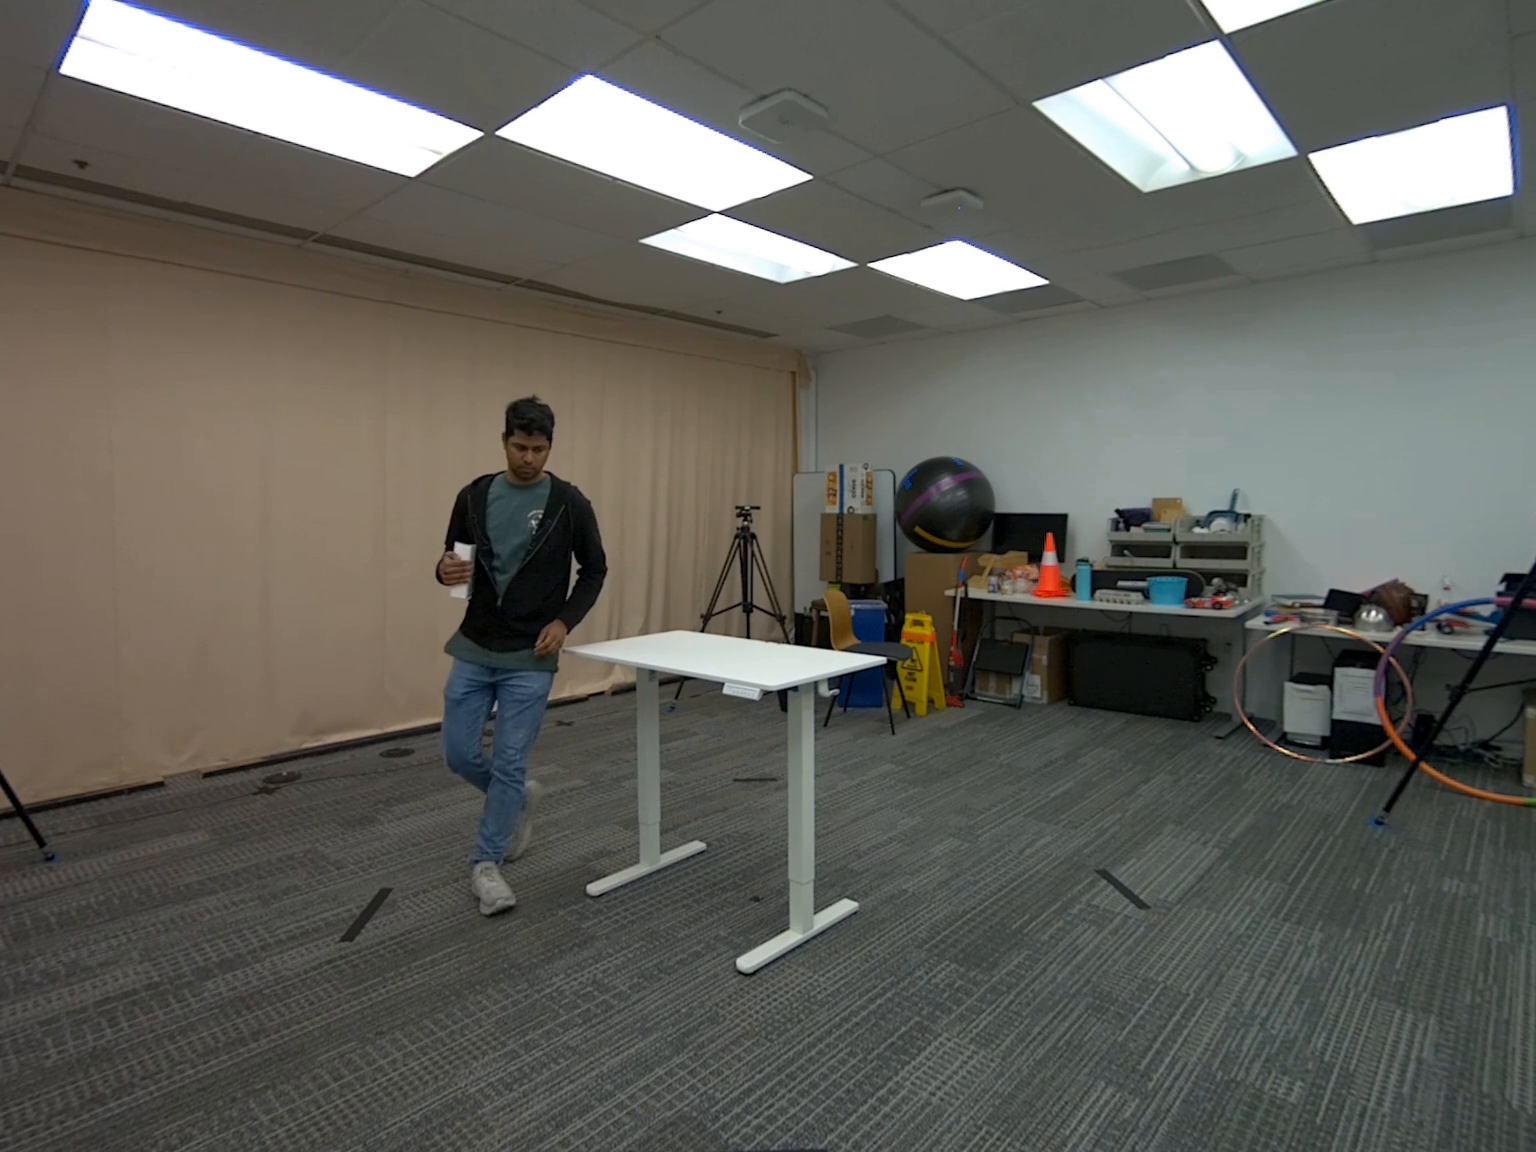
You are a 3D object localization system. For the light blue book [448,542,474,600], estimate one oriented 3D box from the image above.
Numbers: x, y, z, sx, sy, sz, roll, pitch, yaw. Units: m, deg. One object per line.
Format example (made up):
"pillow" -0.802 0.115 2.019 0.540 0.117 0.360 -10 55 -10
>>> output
"light blue book" -1.062 -0.022 3.008 0.058 0.191 0.264 7 -1 -12
